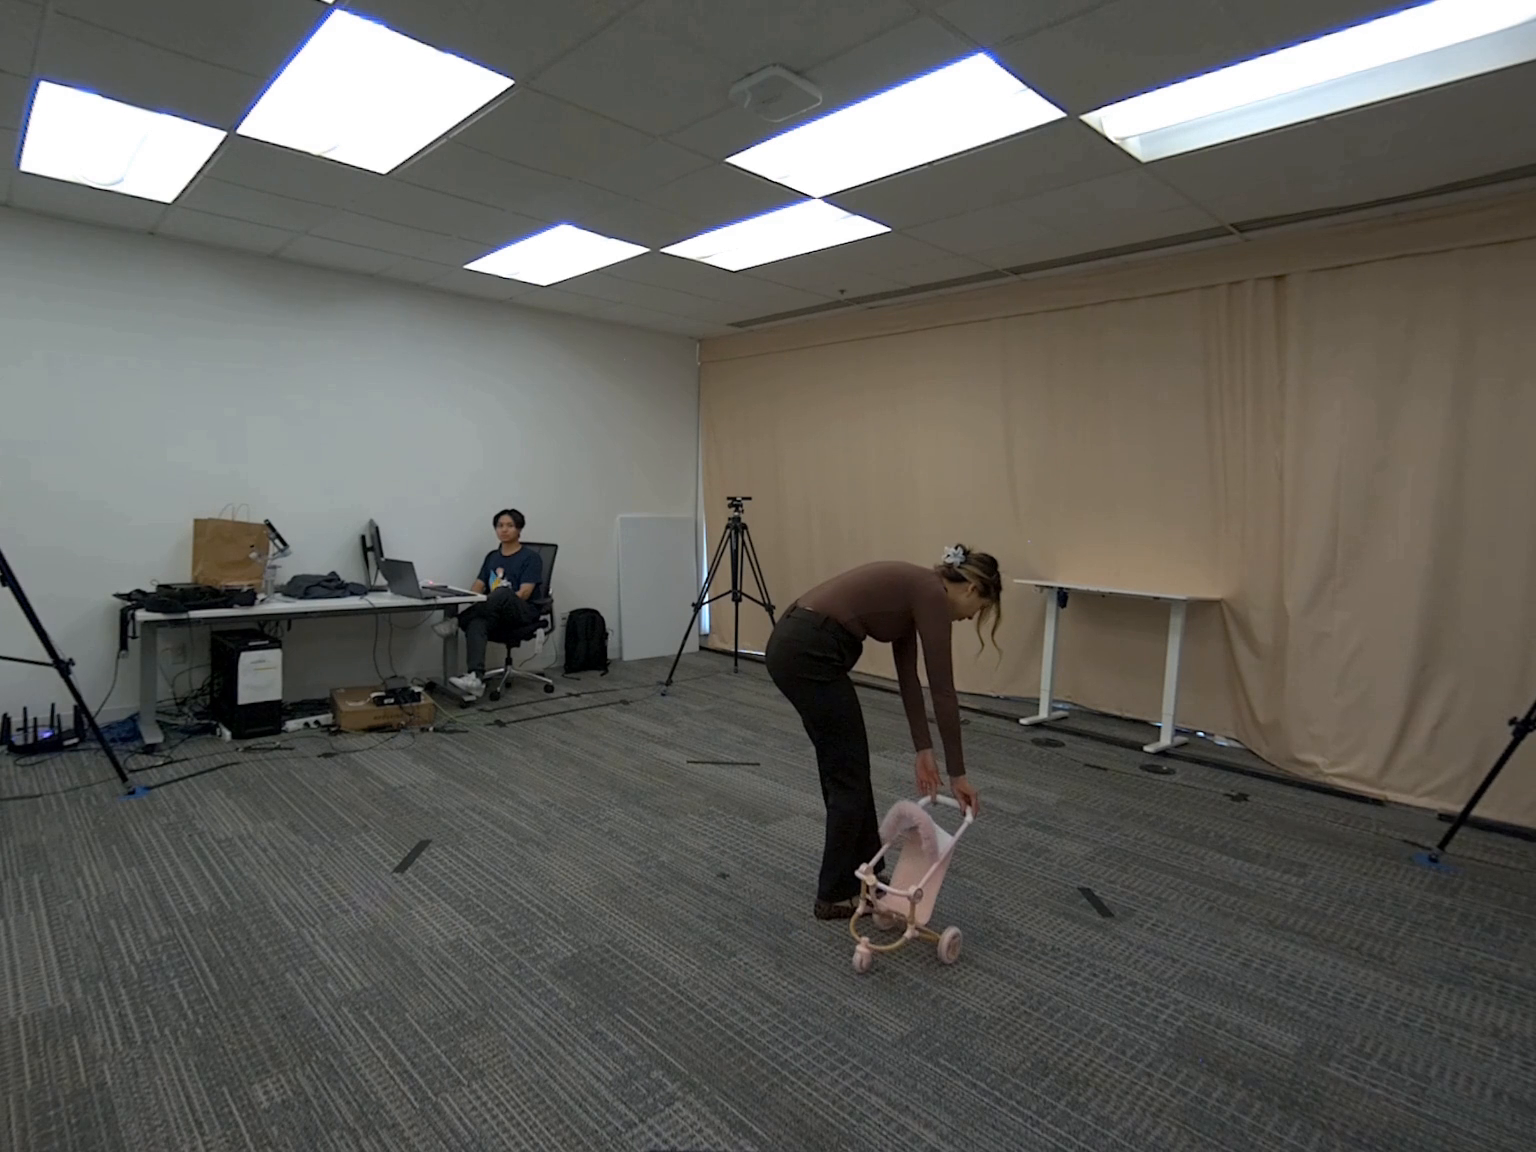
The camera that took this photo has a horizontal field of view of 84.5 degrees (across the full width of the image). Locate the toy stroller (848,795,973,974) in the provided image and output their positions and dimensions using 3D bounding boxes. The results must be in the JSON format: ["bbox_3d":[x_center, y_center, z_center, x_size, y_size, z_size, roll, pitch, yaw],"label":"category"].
[{"bbox_3d":[0.416,0.940,2.600,0.332,0.537,0.288,19,-8,-37],"label":"toy stroller"}]
